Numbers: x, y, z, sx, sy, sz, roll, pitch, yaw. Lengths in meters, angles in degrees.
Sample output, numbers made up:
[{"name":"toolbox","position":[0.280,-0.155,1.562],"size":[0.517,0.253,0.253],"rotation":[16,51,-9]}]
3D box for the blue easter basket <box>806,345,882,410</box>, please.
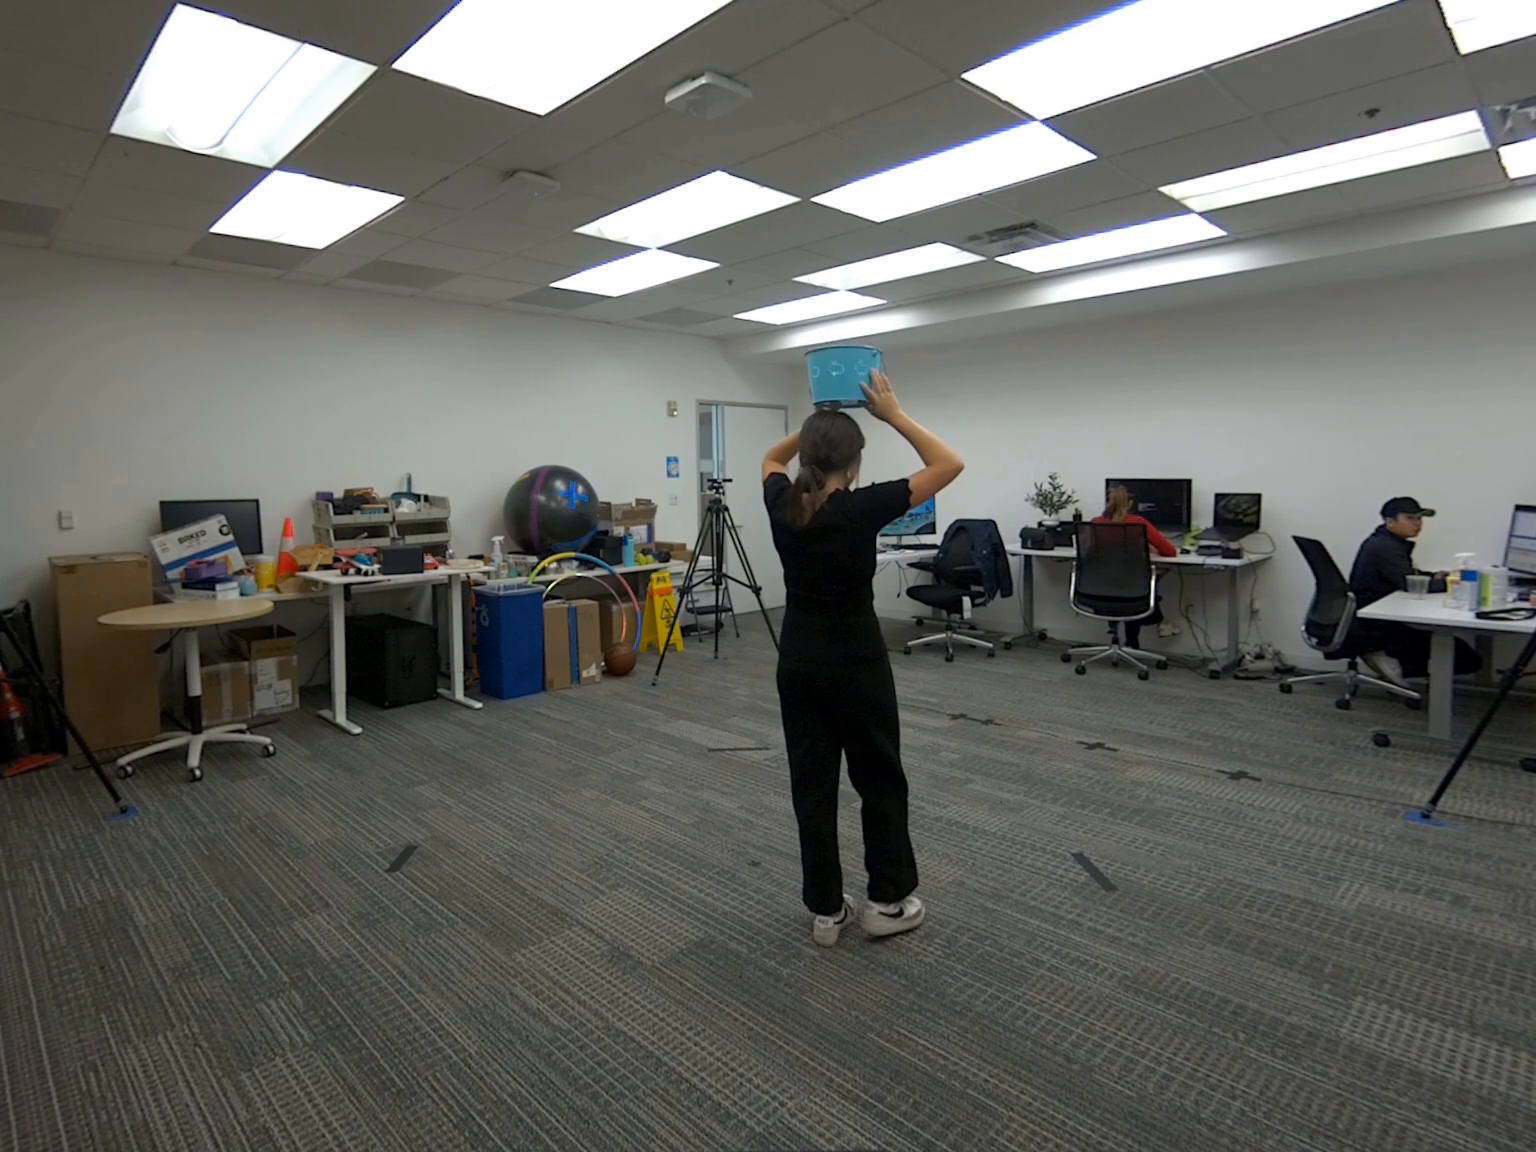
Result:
[{"name":"blue easter basket","position":[0.247,-0.592,2.548],"size":[0.243,0.155,0.245],"rotation":[-2,5,-2]}]
